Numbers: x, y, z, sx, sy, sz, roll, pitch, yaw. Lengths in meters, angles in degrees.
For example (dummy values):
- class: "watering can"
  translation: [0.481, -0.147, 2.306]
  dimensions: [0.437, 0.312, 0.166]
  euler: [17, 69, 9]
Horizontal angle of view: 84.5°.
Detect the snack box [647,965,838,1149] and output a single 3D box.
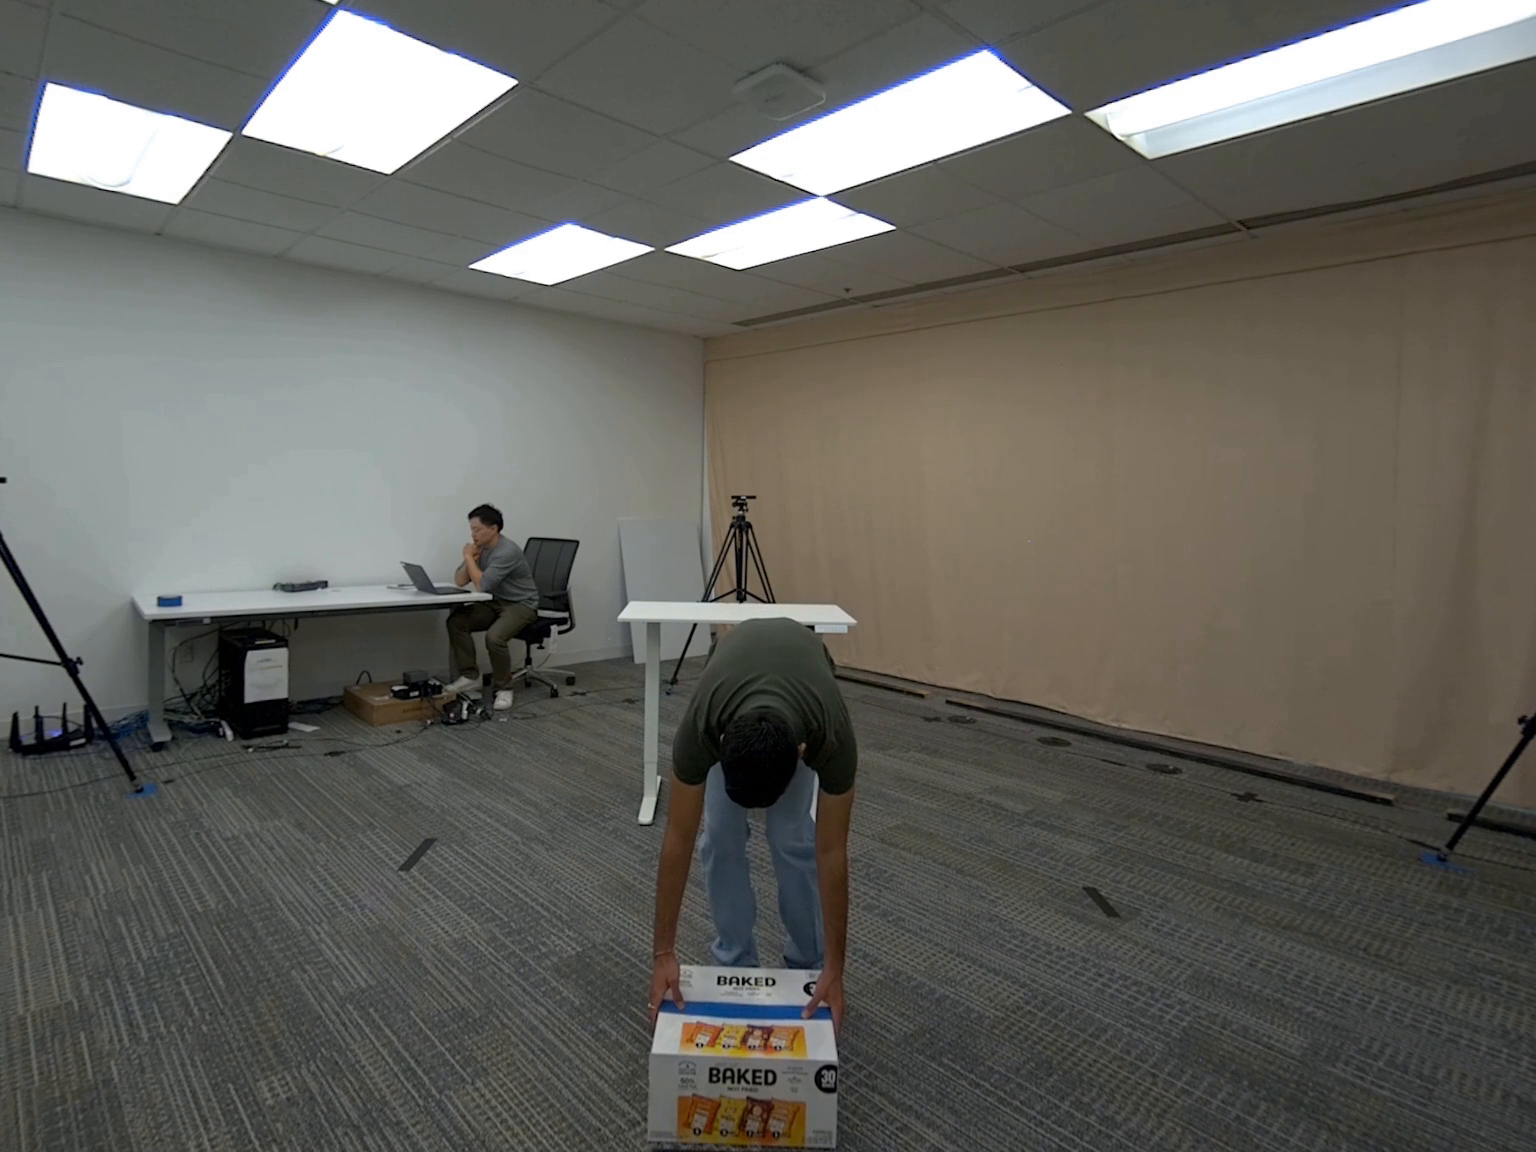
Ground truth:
- class: "snack box"
  translation: [-0.066, 1.113, 1.956]
  dimensions: [0.406, 0.205, 0.341]
  euler: [2, 5, 1]
